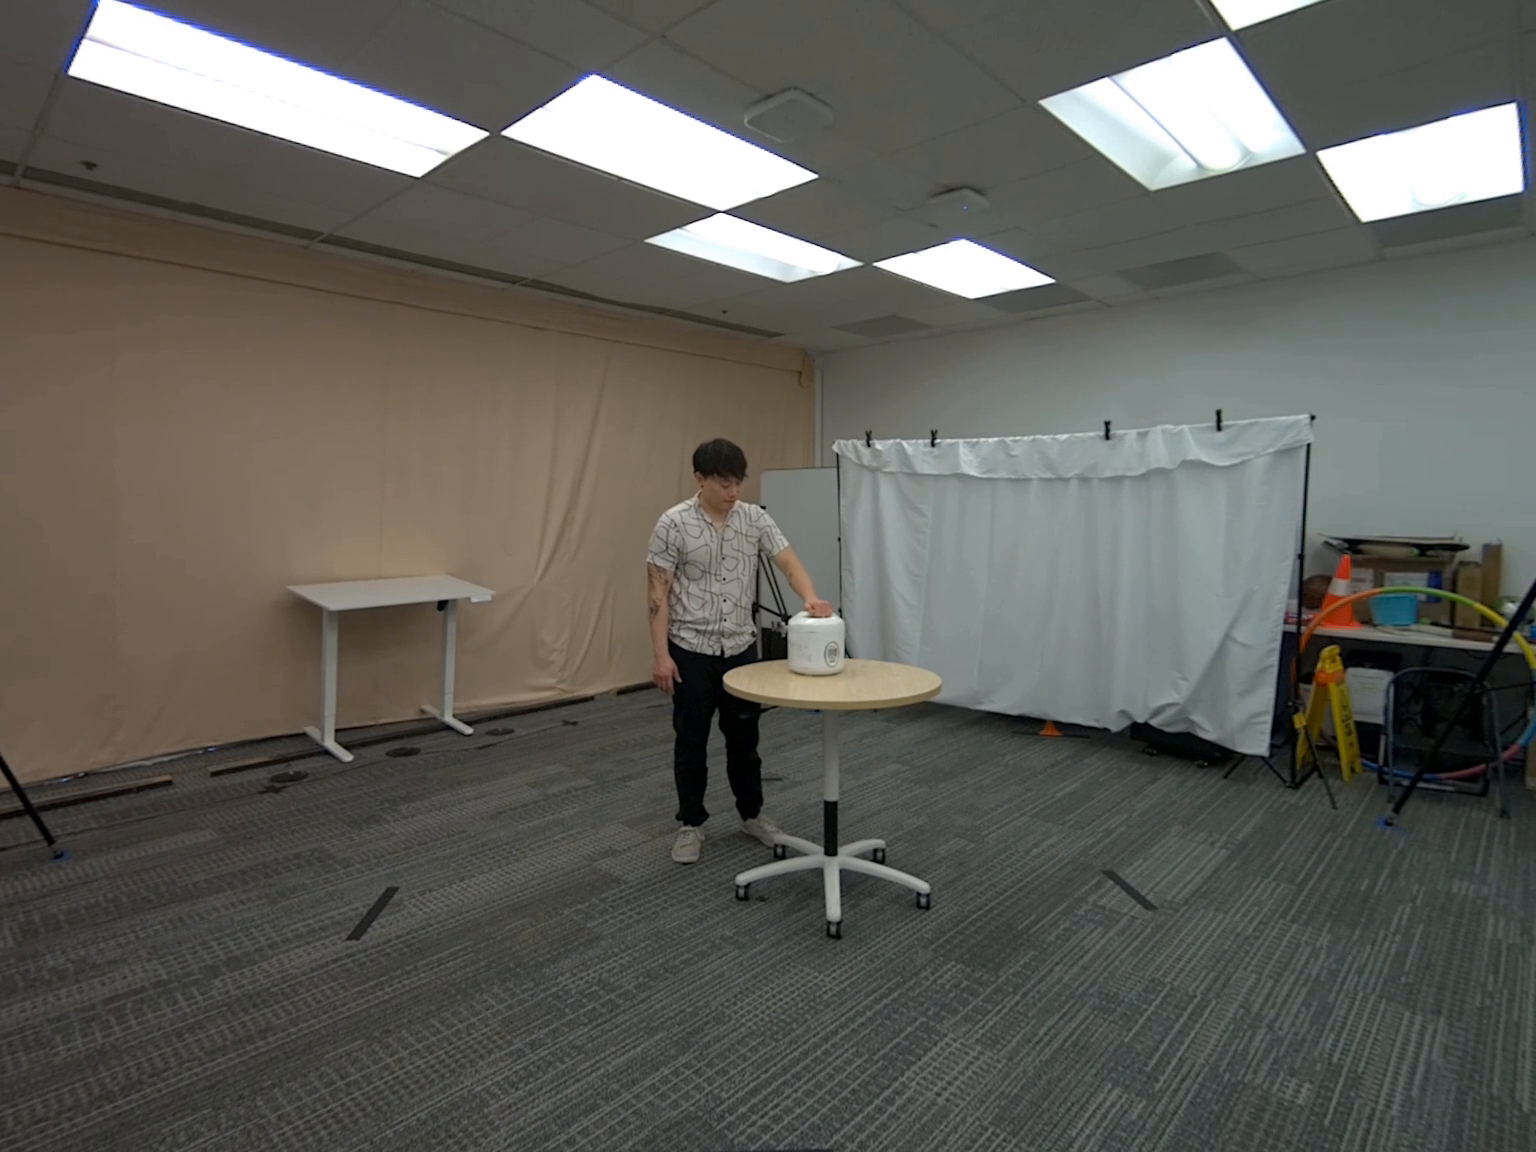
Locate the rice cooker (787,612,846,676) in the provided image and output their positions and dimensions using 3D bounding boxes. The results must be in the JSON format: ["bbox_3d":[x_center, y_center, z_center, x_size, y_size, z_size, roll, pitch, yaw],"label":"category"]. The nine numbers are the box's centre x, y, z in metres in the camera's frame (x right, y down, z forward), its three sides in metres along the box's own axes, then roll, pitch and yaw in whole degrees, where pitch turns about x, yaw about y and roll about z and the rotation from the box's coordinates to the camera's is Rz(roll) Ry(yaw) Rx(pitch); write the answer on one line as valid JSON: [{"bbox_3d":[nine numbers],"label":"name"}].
[{"bbox_3d":[0.182,0.238,3.088,0.215,0.232,0.223,-2,2,-27],"label":"rice cooker"}]
